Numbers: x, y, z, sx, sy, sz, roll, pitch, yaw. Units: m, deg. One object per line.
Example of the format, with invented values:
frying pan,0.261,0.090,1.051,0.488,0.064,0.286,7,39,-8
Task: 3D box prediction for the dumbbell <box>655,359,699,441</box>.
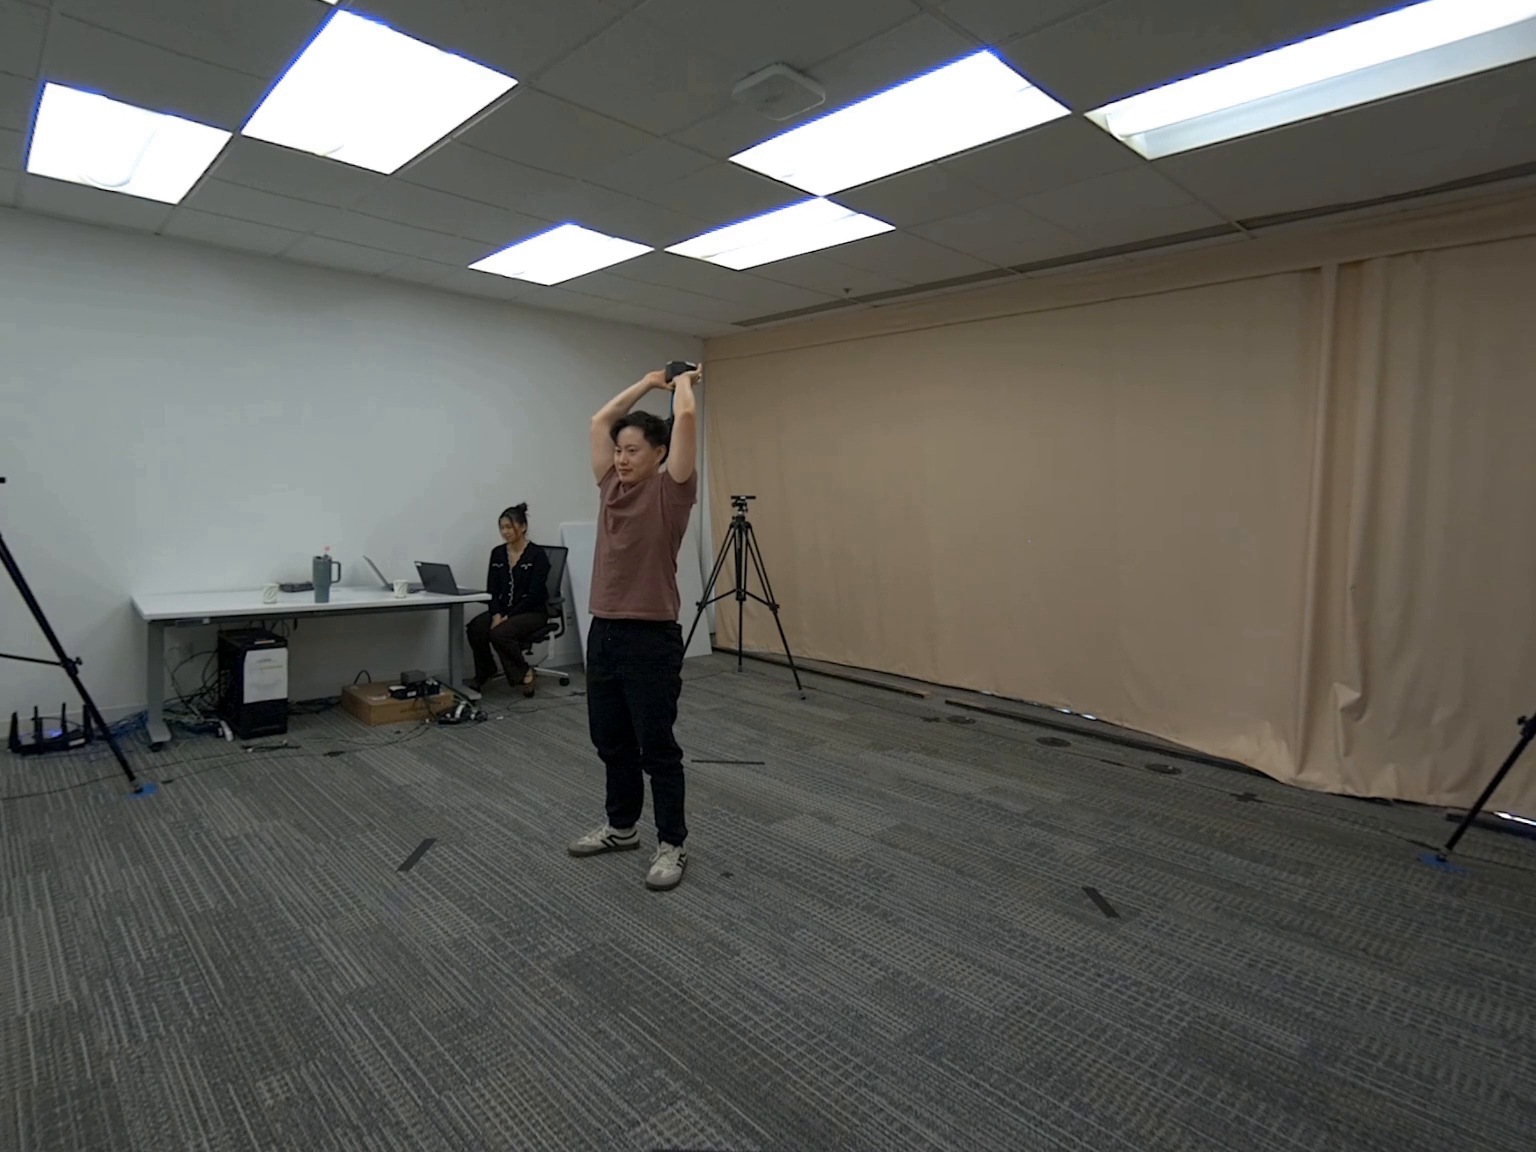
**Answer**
dumbbell,-0.350,-0.669,3.235,0.111,0.292,0.120,4,6,41
